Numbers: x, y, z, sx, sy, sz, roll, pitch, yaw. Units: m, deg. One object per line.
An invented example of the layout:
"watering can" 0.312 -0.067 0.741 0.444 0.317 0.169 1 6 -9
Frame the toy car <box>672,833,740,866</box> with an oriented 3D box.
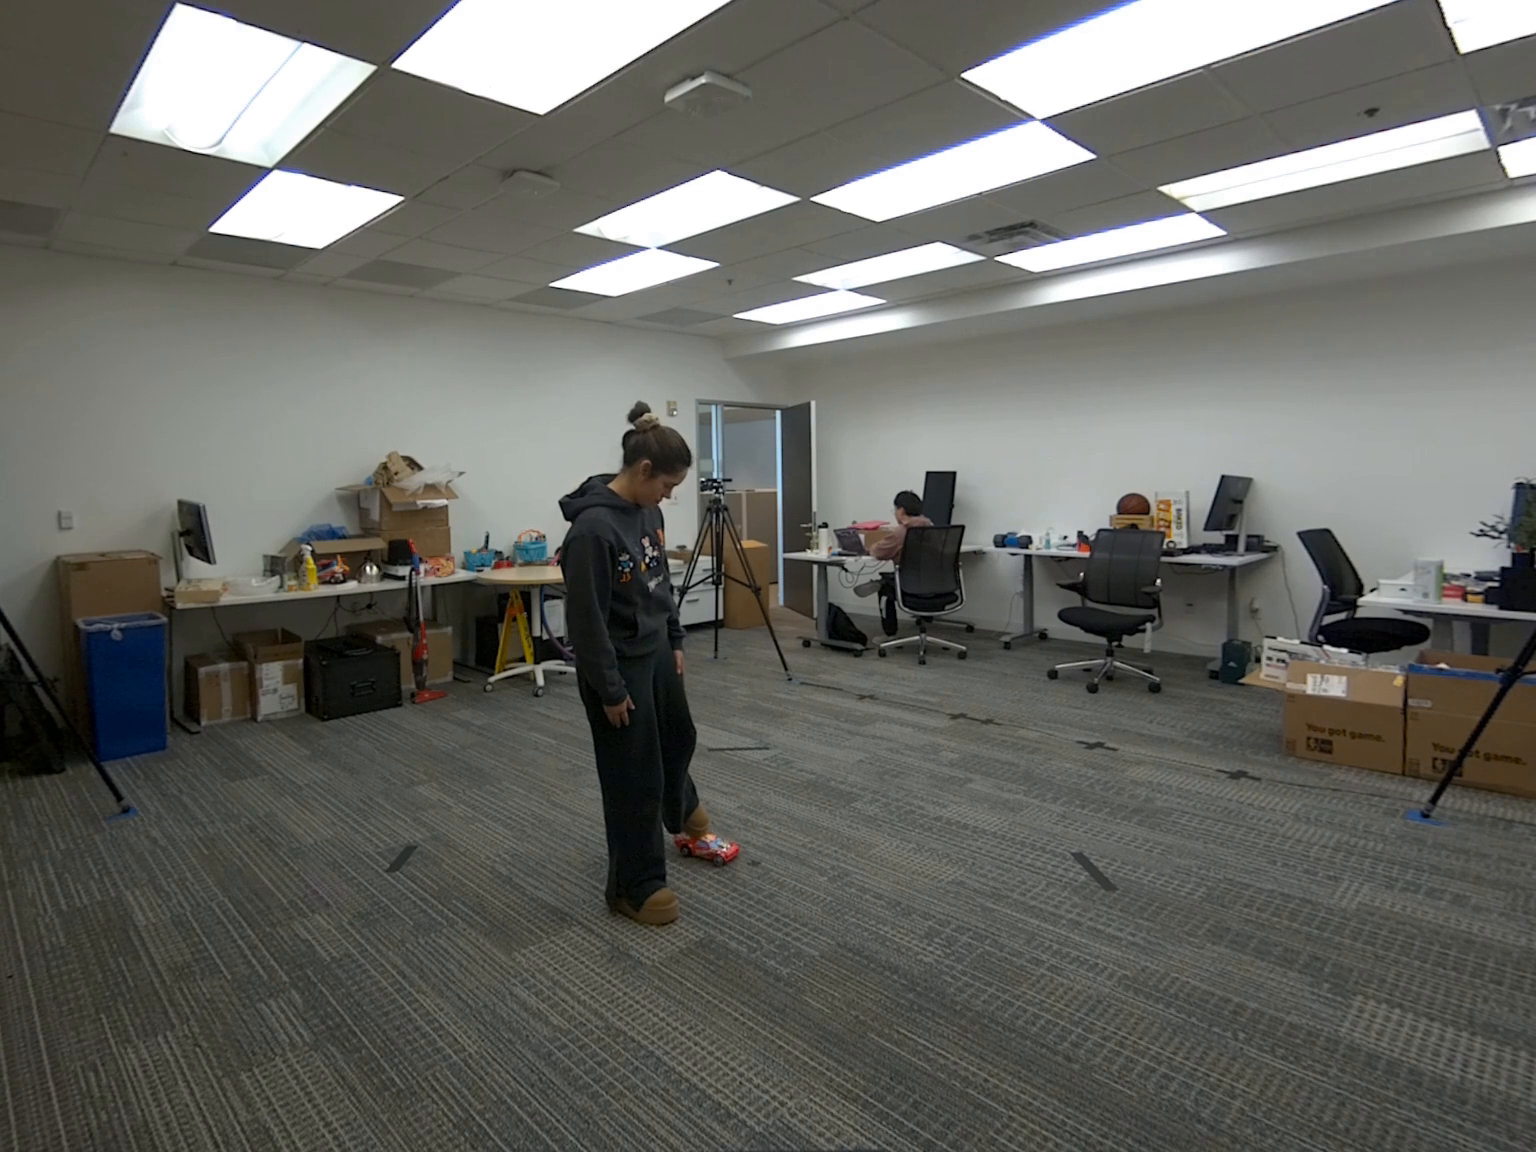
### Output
"toy car" -0.232 1.010 3.169 0.262 0.082 0.127 14 12 31
